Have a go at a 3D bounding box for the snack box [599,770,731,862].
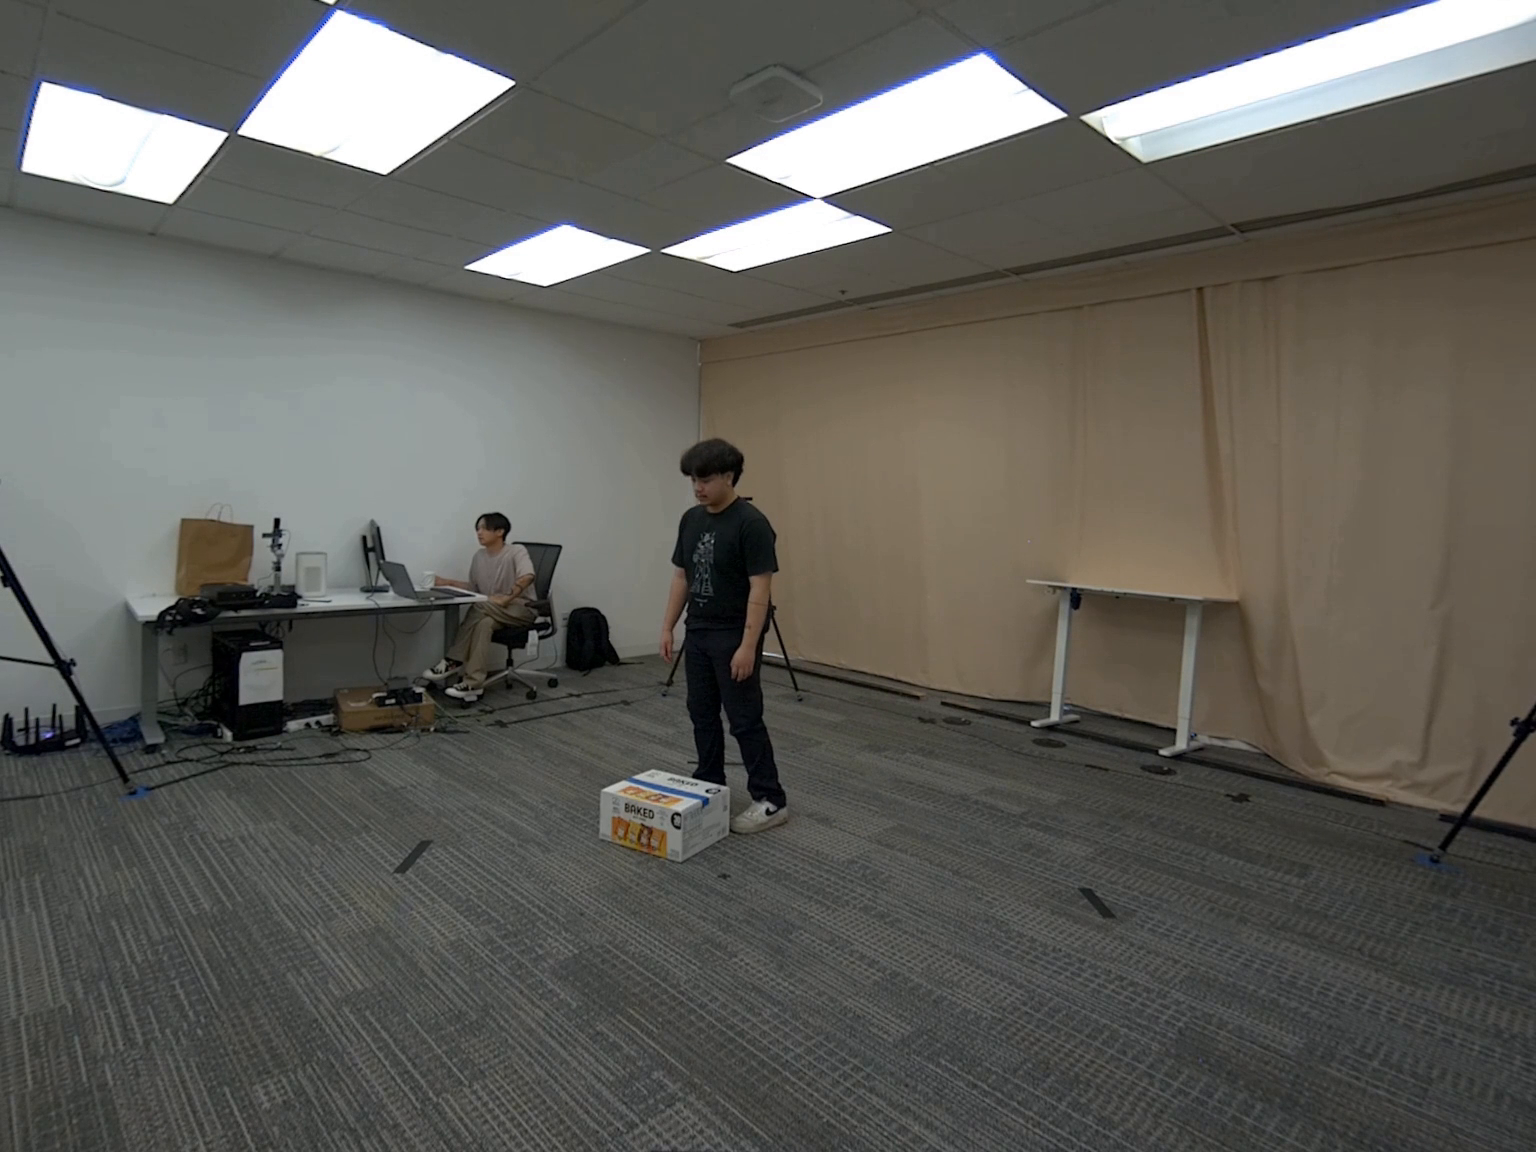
[{"bbox_3d":[-0.428,0.969,3.438,0.414,0.205,0.333,4,5,31],"label":"snack box"}]
